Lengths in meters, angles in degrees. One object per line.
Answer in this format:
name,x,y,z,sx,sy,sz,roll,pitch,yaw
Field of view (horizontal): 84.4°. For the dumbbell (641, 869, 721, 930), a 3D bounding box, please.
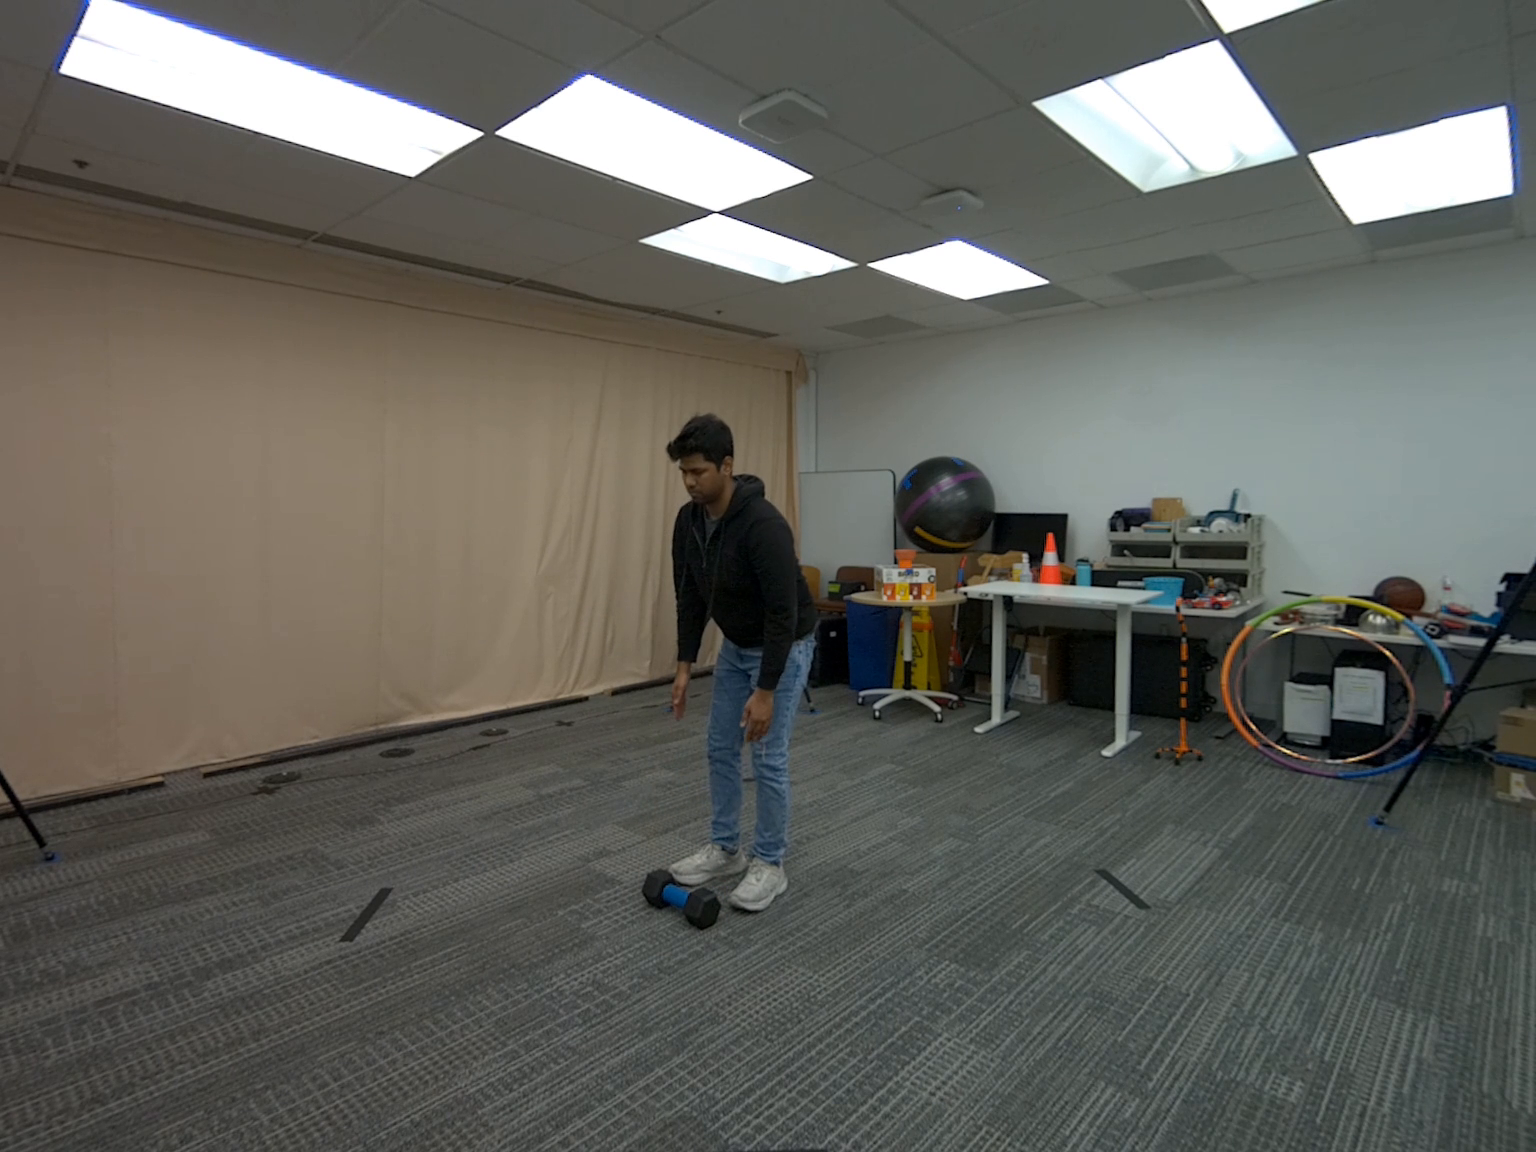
dumbbell,-0.297,1.100,2.871,0.303,0.120,0.107,4,34,43
